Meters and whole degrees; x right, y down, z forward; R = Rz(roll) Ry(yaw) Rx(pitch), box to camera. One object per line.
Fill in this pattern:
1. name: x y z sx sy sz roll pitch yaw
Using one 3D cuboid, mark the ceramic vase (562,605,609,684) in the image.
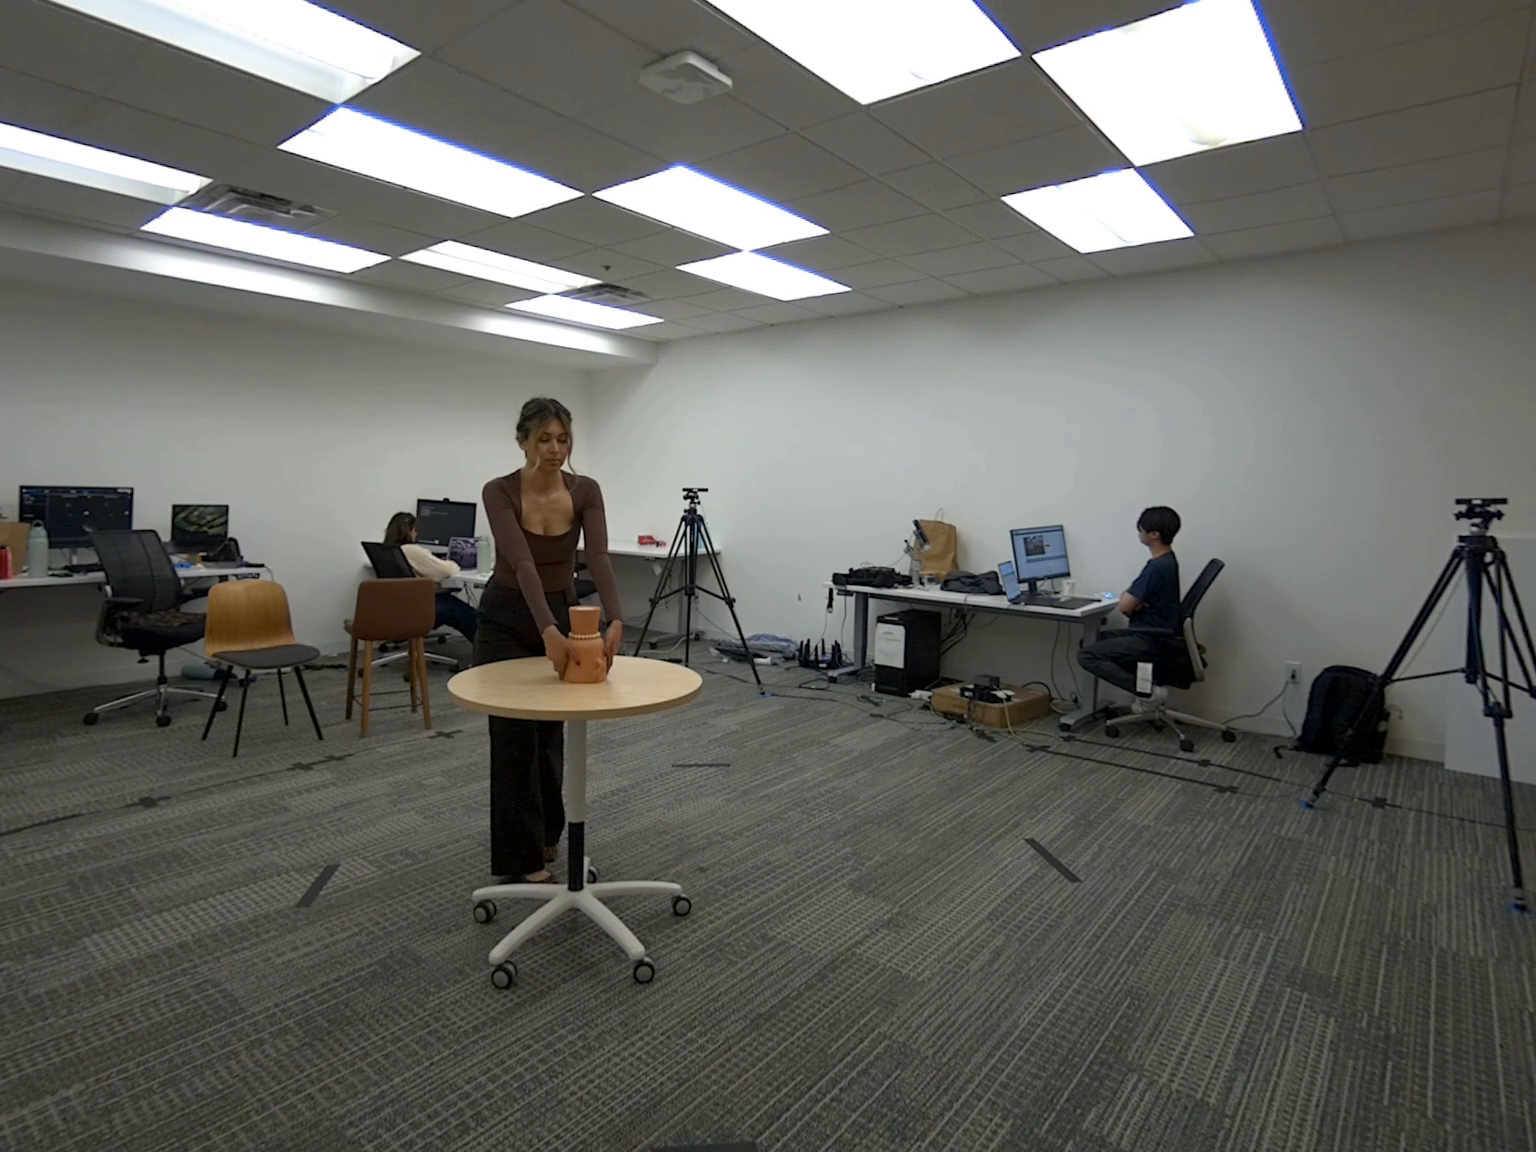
1. ceramic vase: -0.575 0.205 2.607 0.159 0.219 0.134 2 3 2
